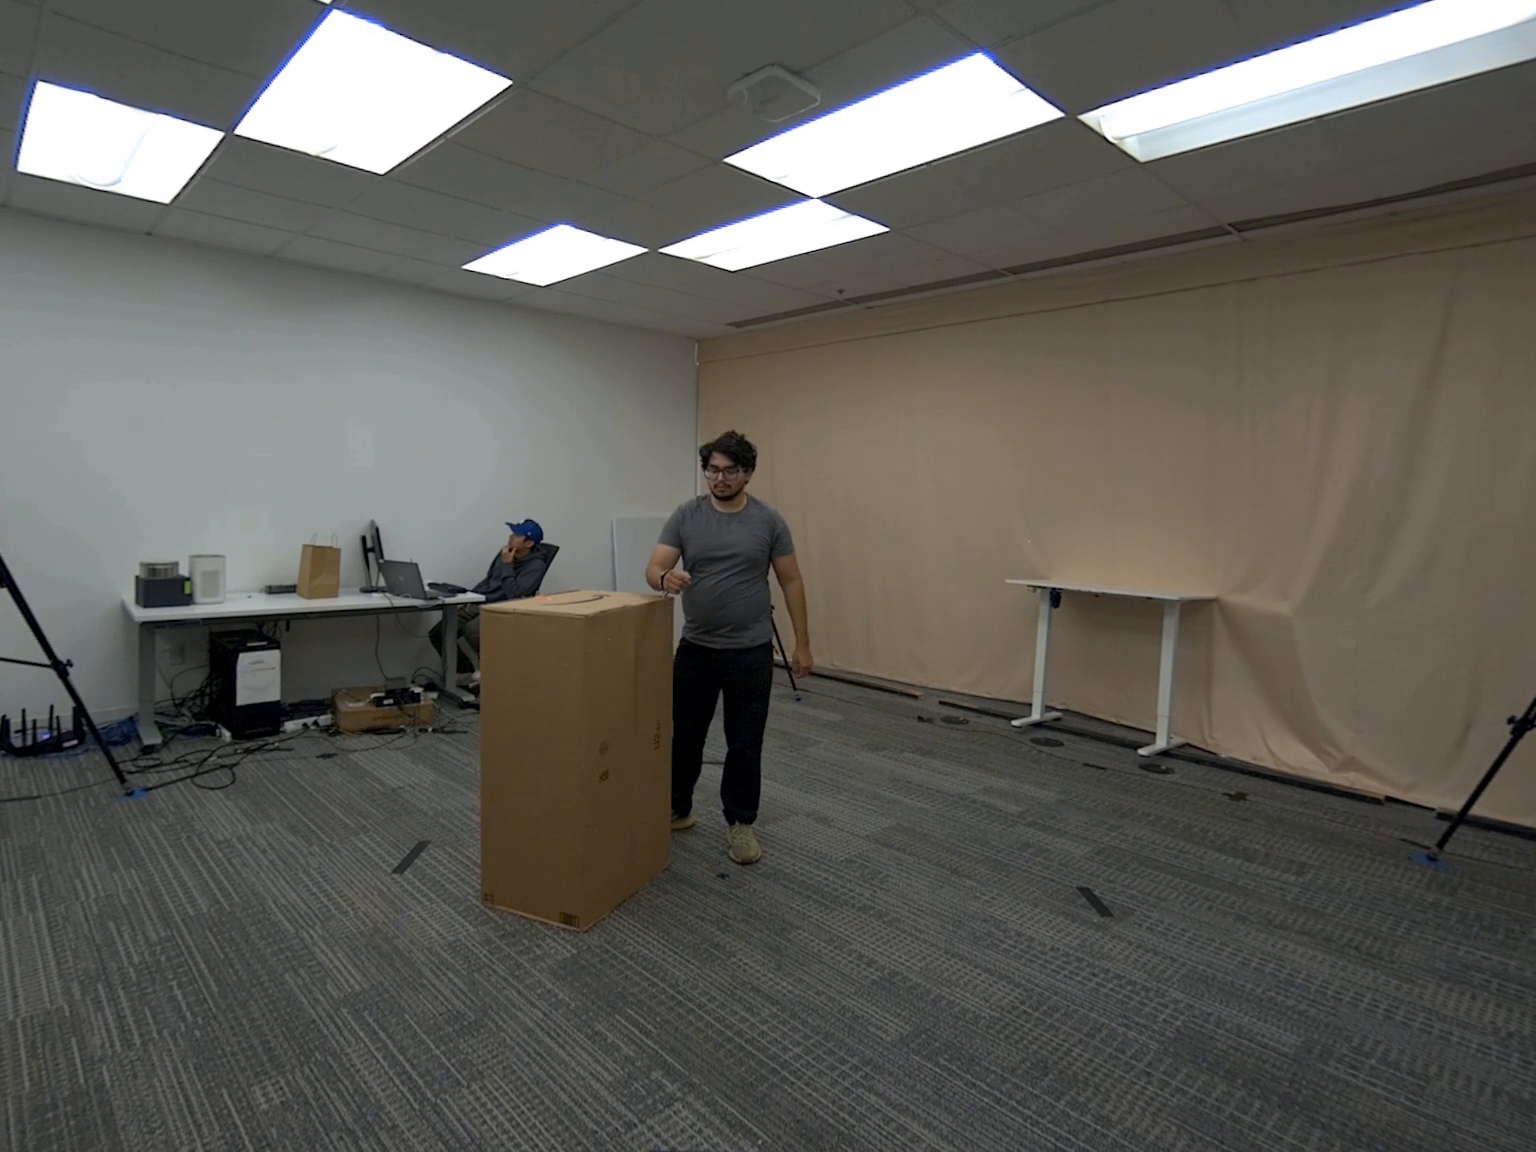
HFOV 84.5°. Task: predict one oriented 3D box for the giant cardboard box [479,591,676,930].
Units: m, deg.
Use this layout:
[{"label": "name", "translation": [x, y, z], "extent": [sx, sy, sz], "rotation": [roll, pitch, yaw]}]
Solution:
[{"label": "giant cardboard box", "translation": [-0.675, 0.597, 2.984], "extent": [0.434, 1.023, 0.568], "rotation": [3, 4, 25]}]
